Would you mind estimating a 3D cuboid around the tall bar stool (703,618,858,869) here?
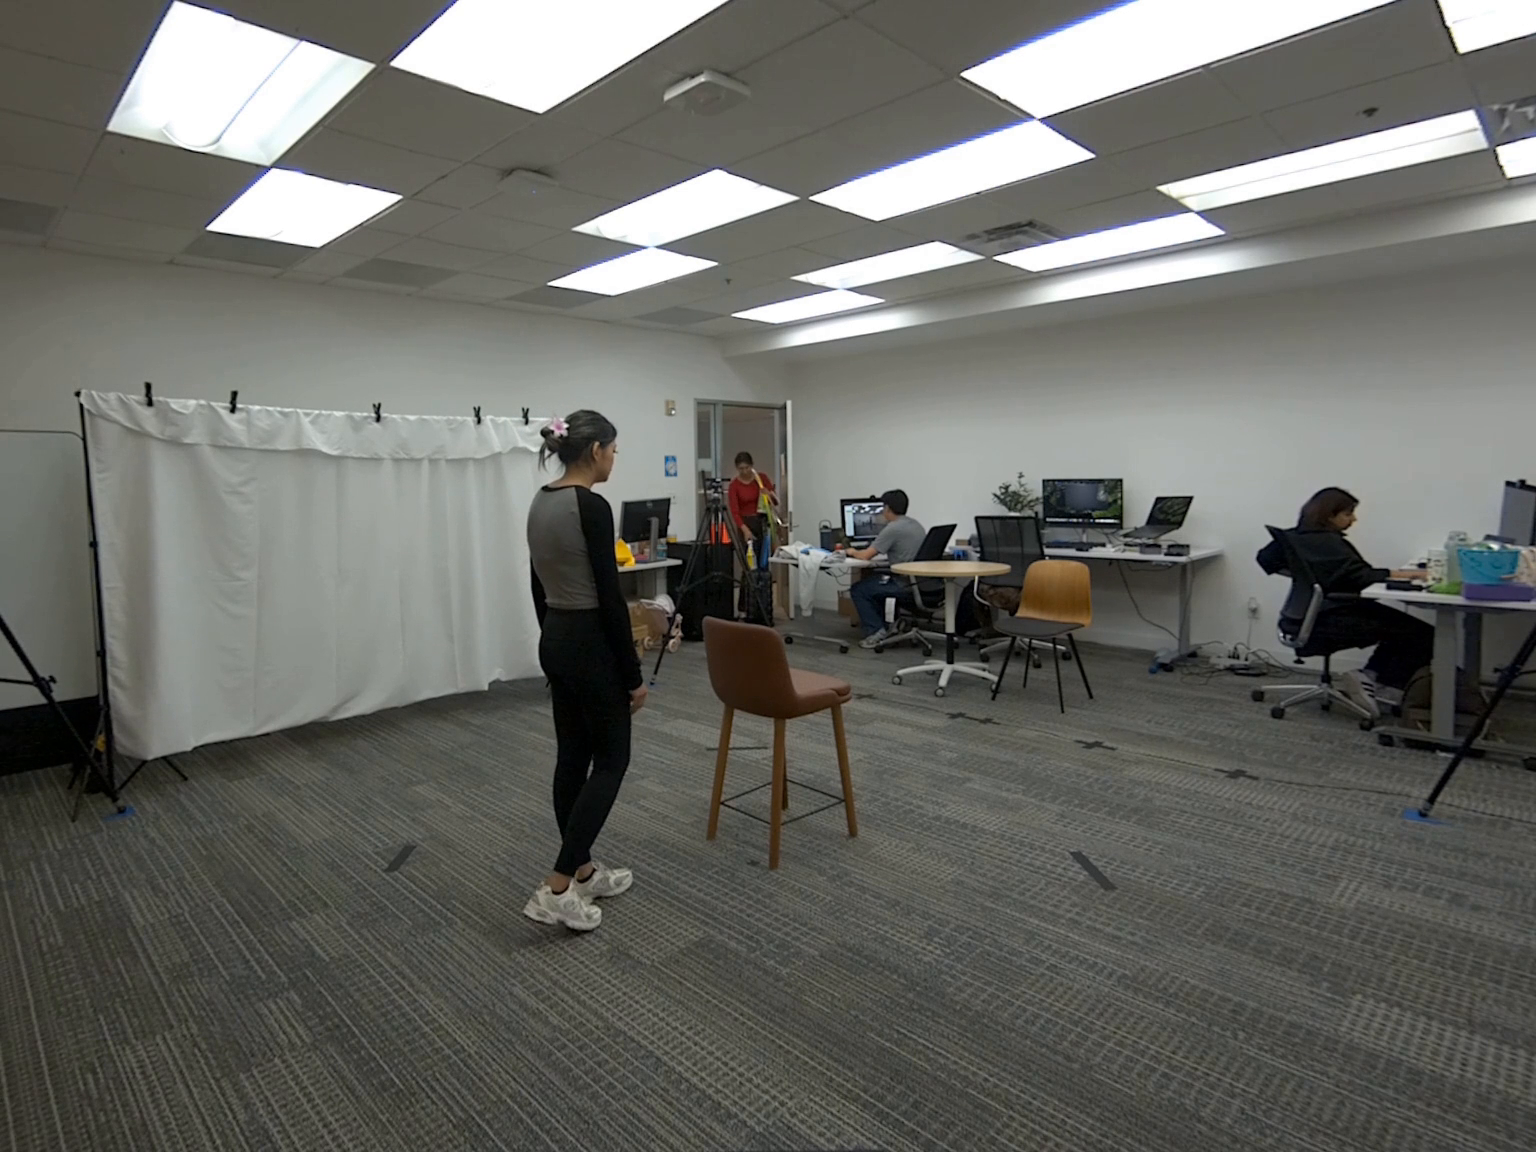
[{"bbox_3d":[0.041,0.584,3.301,0.456,0.885,0.471,-7,7,-42],"label":"tall bar stool"}]
